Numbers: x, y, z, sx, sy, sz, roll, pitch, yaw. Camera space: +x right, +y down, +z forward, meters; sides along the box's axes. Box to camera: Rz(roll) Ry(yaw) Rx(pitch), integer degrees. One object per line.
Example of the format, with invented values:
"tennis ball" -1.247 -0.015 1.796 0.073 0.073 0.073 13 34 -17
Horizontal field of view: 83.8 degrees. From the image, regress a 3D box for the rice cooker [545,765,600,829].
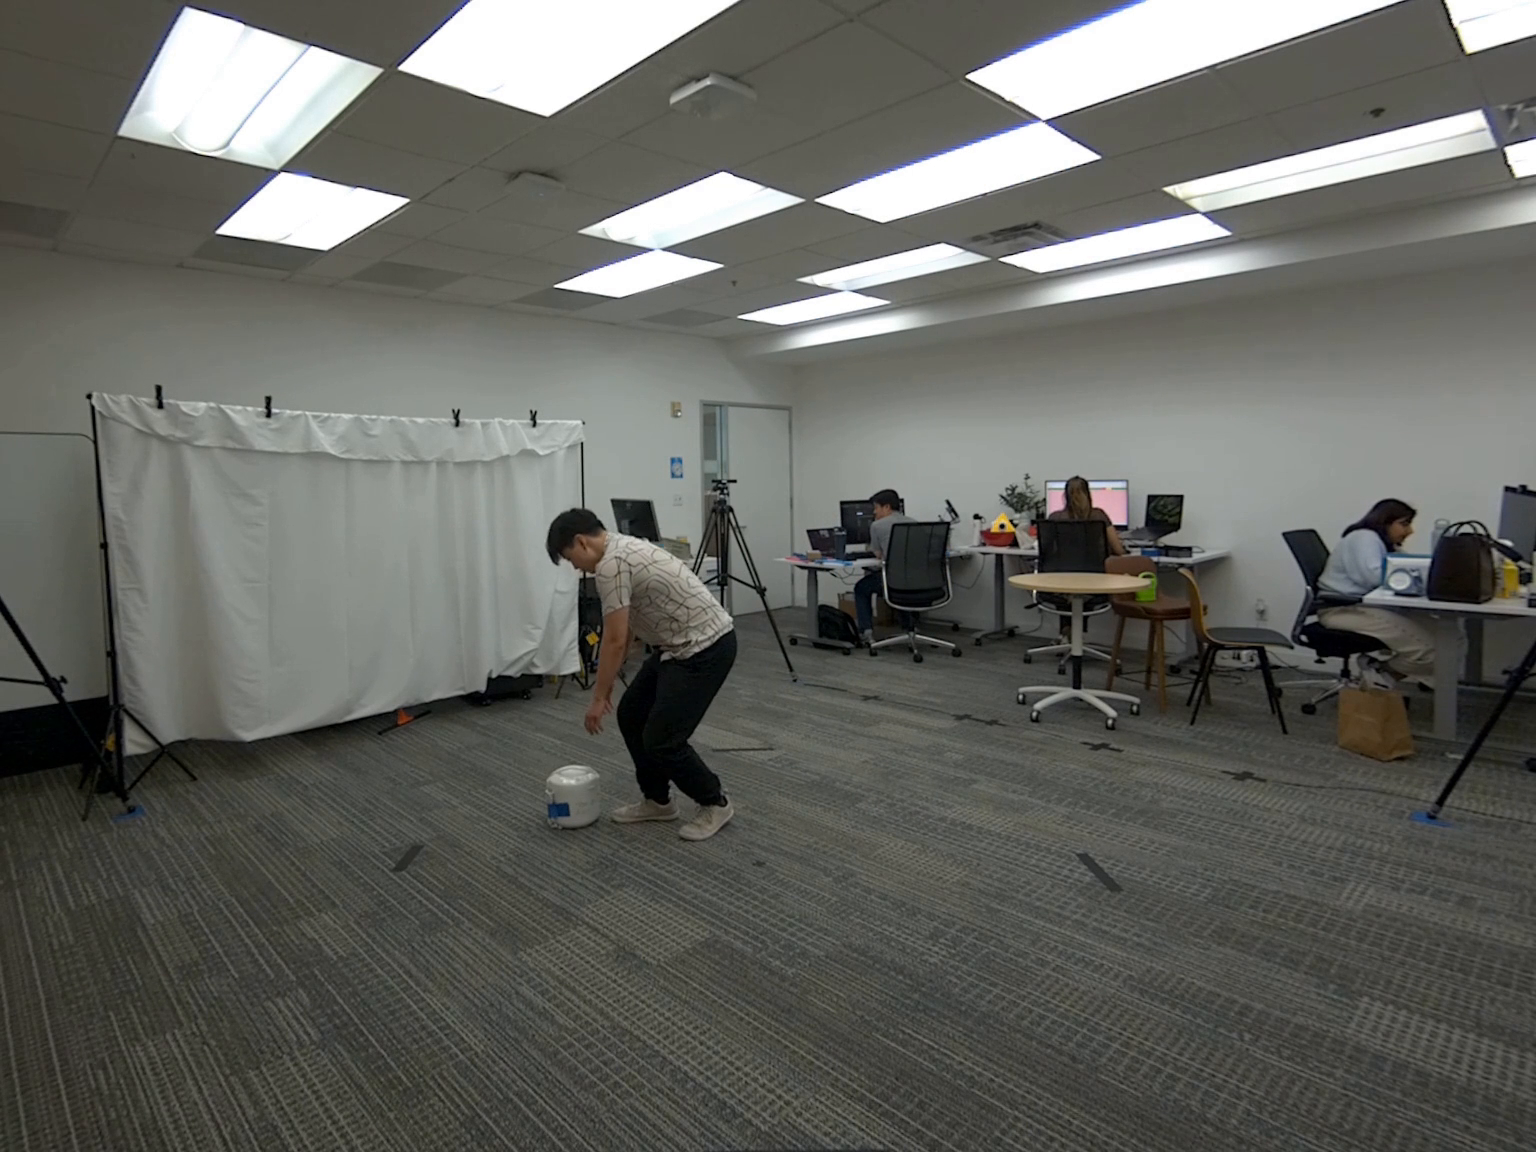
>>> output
"rice cooker" -0.799 0.897 3.533 0.220 0.232 0.219 -1 5 -3
